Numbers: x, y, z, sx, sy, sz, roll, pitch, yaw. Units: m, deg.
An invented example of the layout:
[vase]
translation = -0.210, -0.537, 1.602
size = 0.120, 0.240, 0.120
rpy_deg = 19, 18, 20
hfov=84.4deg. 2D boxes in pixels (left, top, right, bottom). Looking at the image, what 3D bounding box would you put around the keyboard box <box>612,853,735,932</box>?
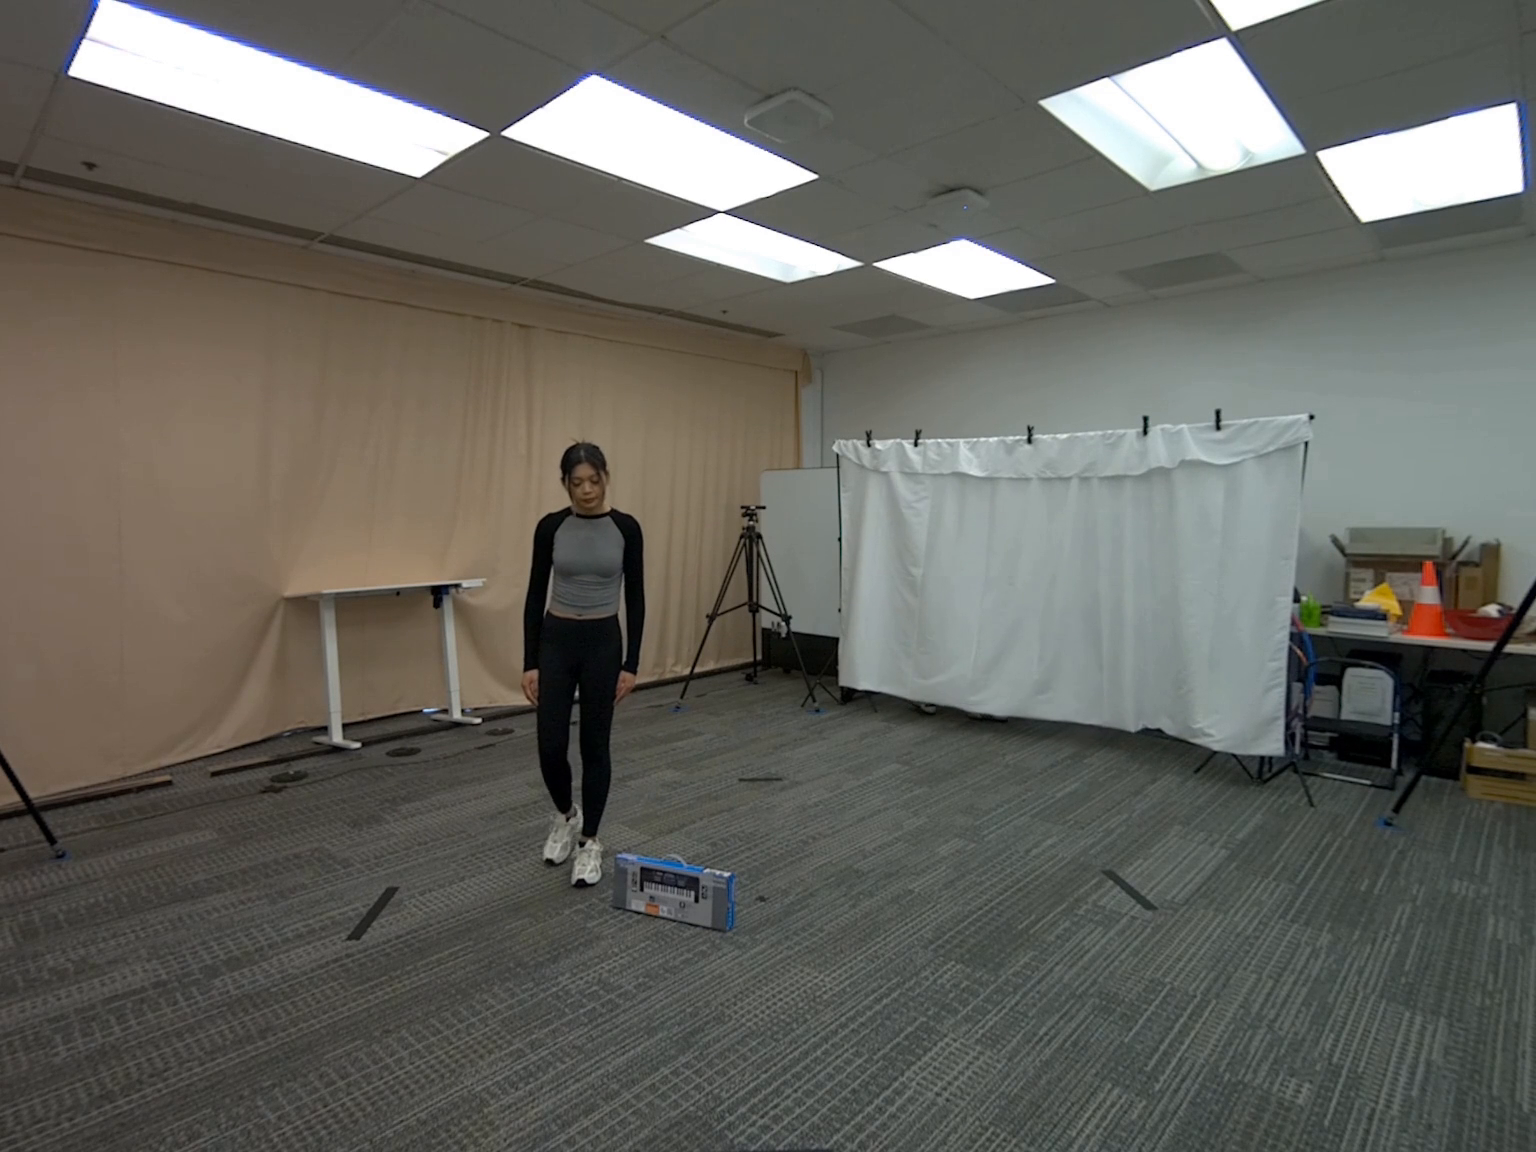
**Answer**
[keyboard box]
translation = -0.322, 1.068, 2.857
size = 0.447, 0.176, 0.057
rpy_deg = 1, -3, 24
